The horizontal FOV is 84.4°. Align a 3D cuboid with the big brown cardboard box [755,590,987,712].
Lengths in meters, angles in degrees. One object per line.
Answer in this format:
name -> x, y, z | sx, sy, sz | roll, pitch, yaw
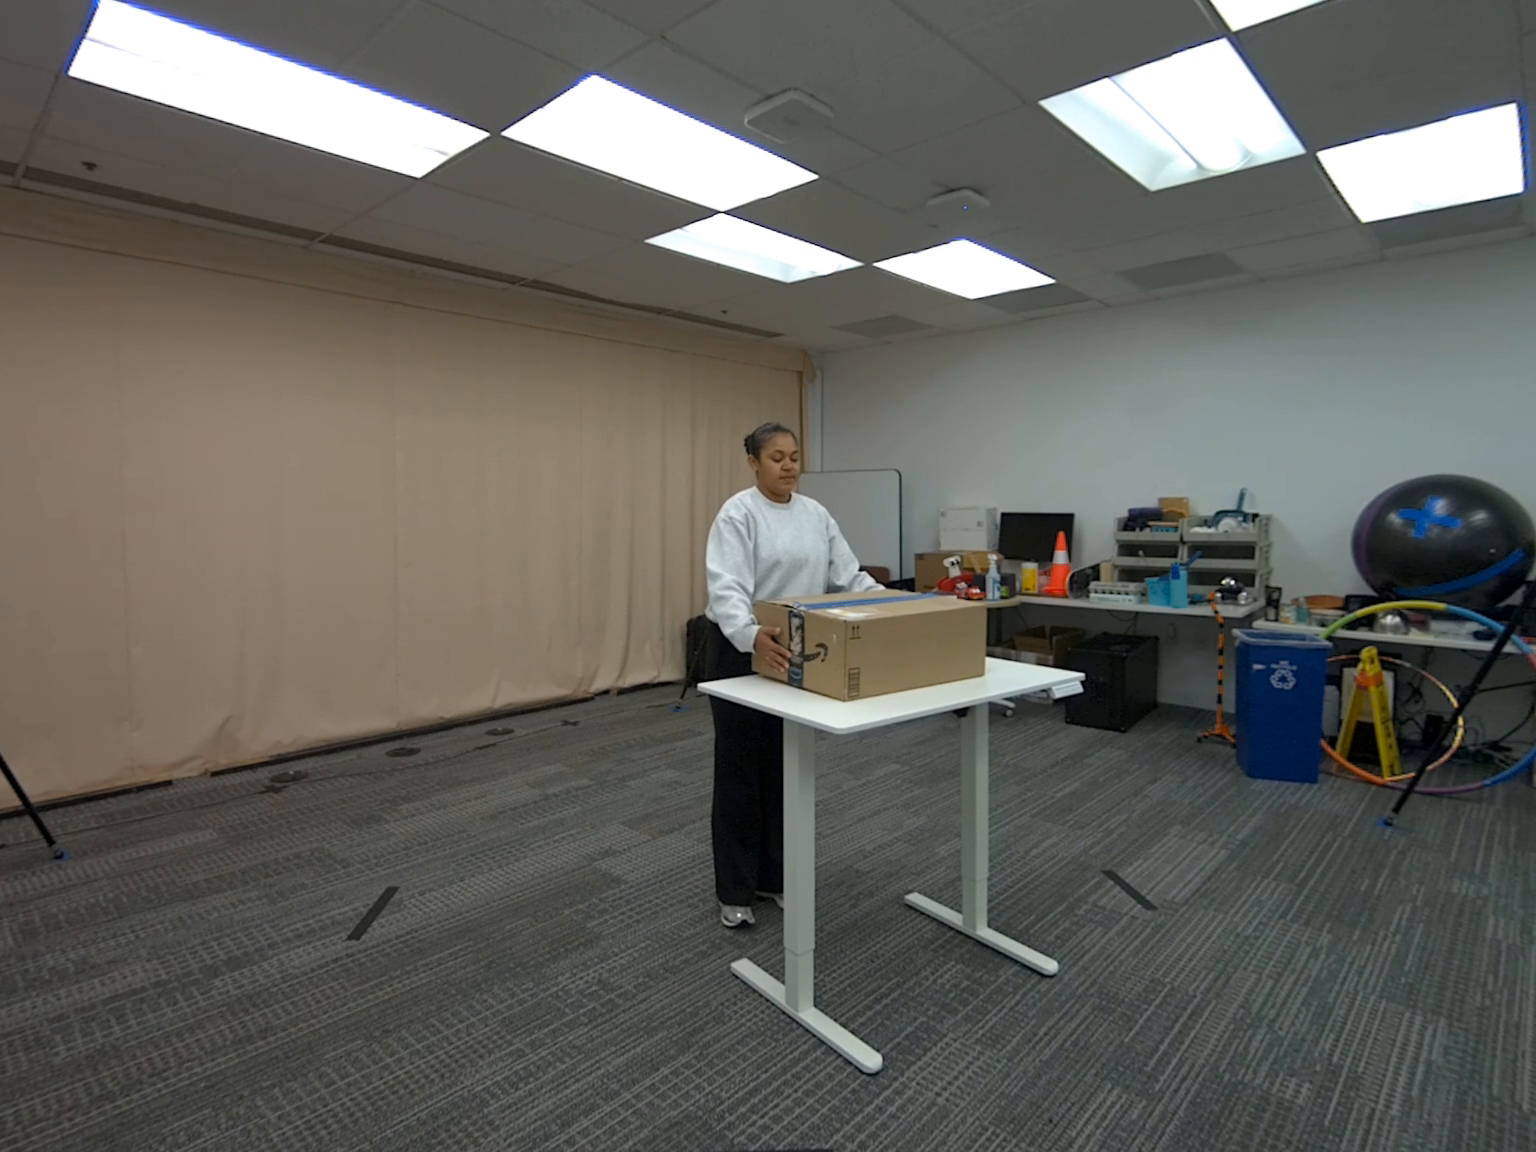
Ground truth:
big brown cardboard box -> 0.296, 0.183, 2.496 | 0.572, 0.232, 0.431 | -2, 6, -34
